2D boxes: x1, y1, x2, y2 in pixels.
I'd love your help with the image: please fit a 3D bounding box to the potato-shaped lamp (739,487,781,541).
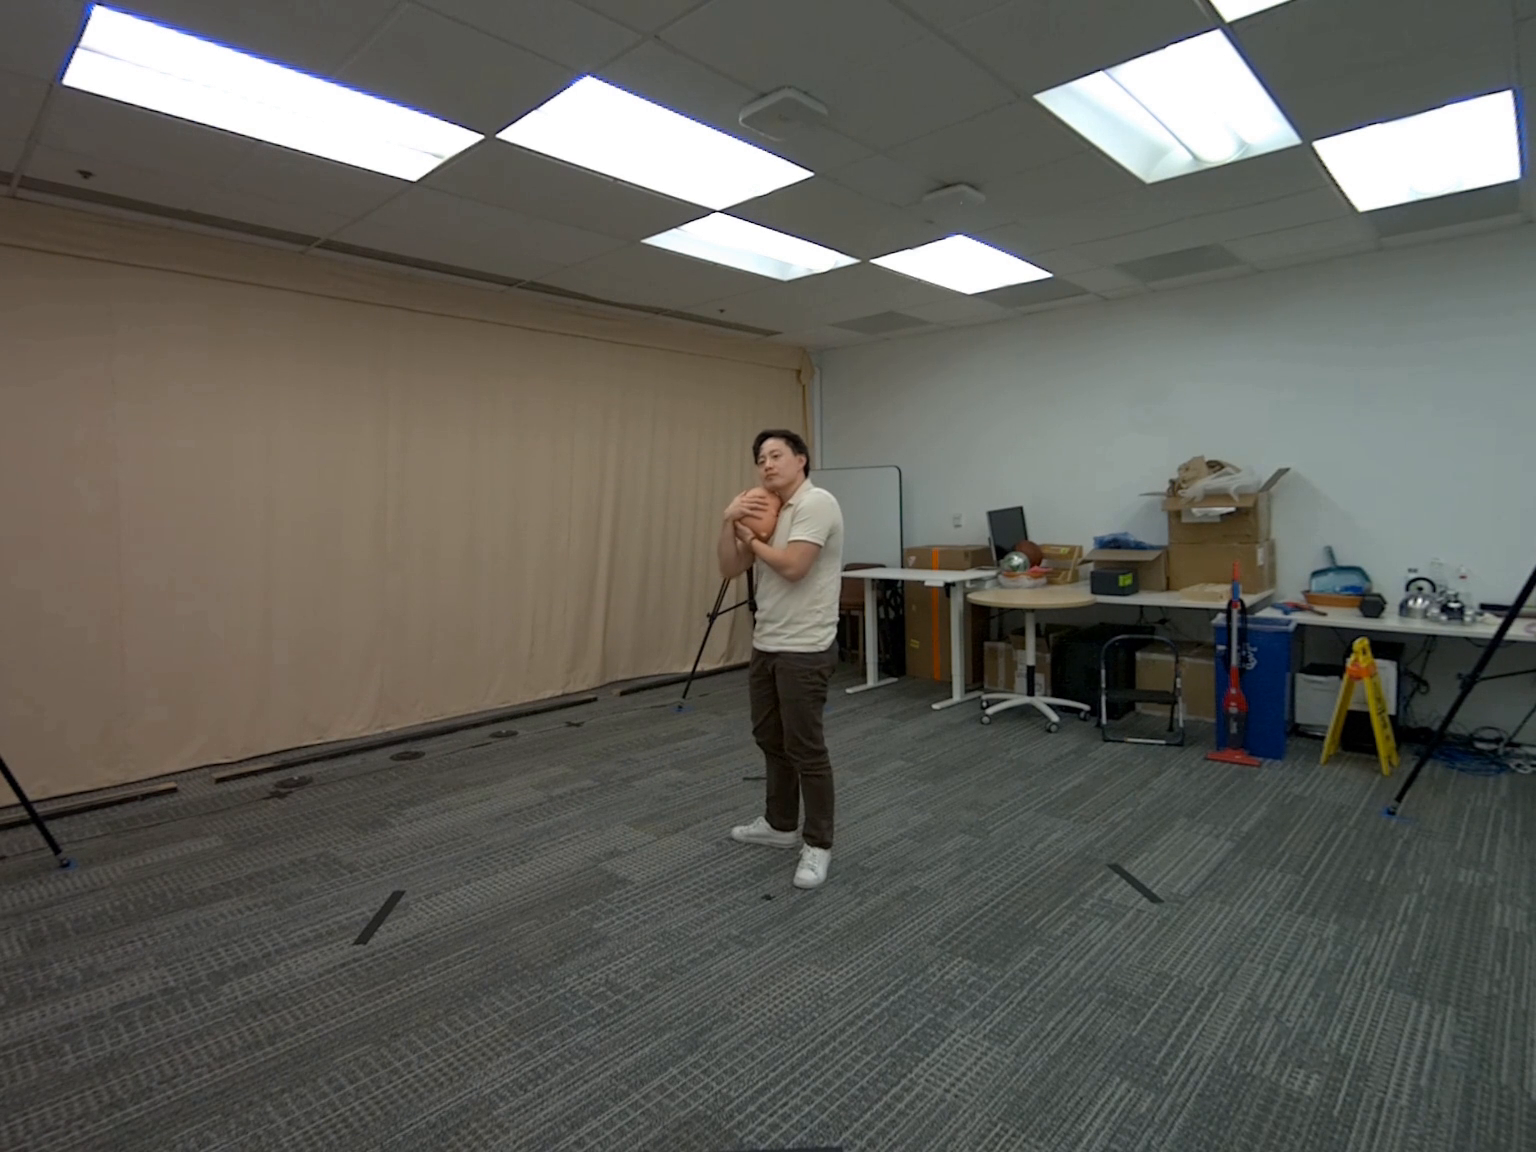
[{"bbox_3d":[-0.030,-0.236,3.232,0.169,0.197,0.167,42,-24,-10],"label":"potato-shaped lamp"}]
